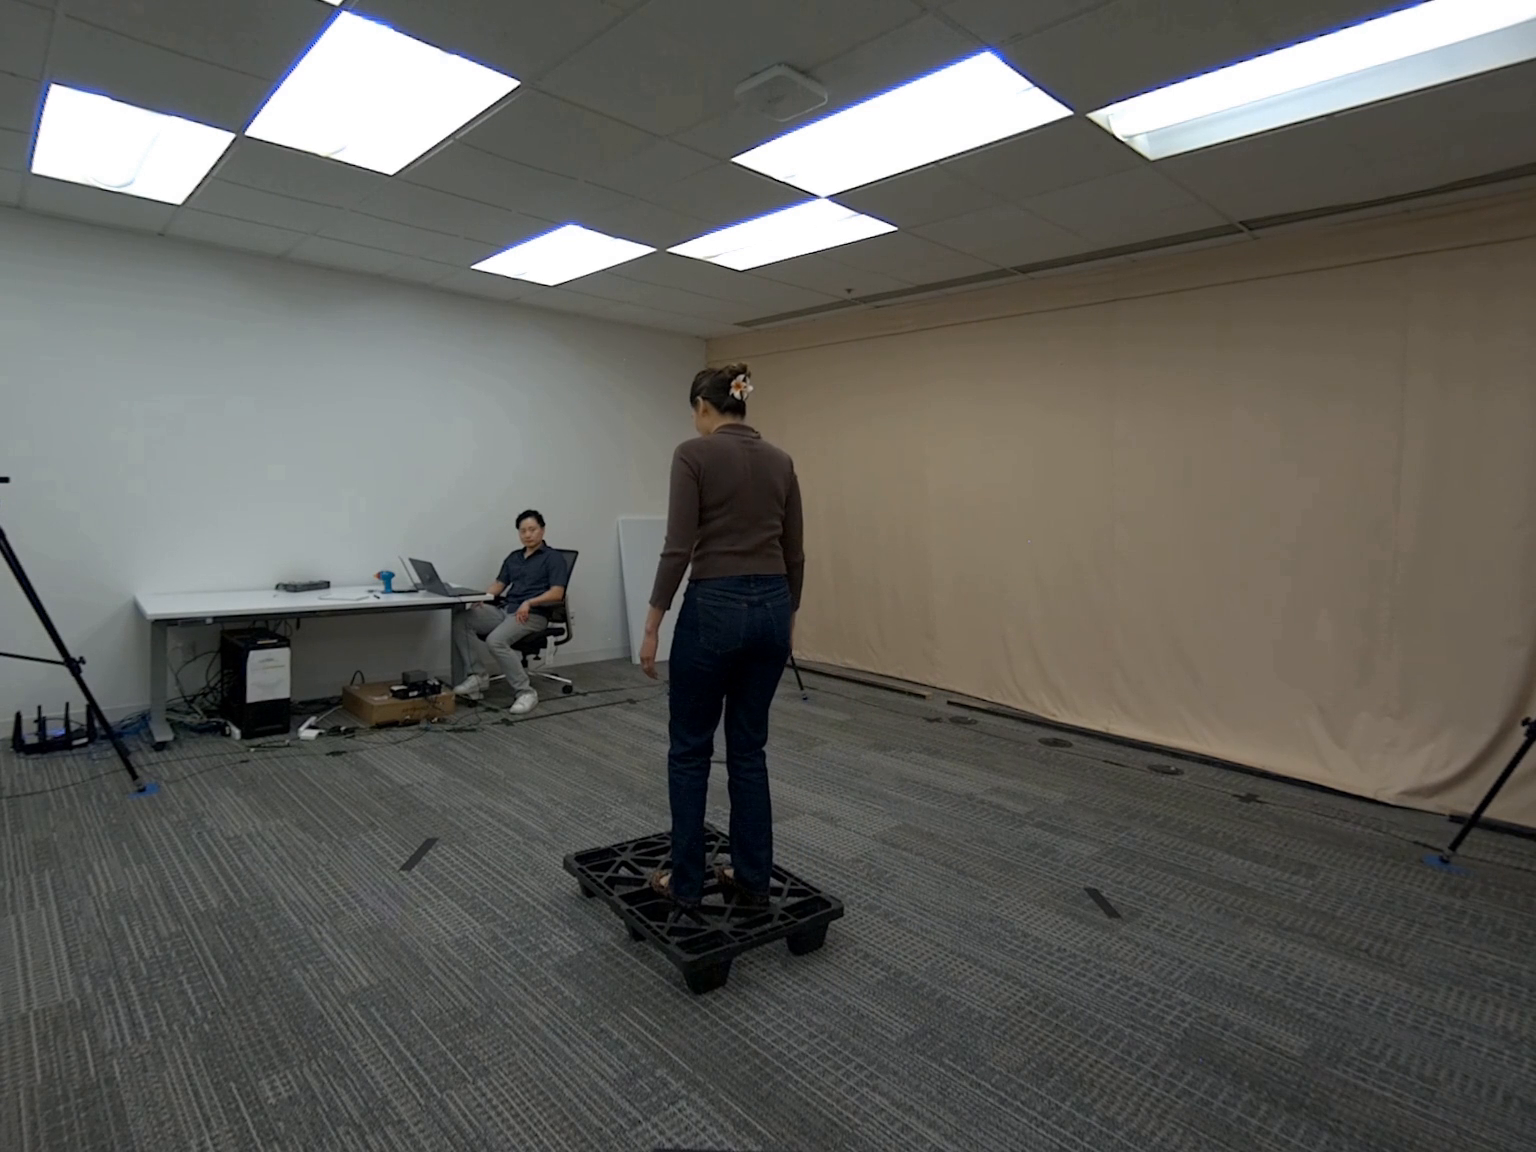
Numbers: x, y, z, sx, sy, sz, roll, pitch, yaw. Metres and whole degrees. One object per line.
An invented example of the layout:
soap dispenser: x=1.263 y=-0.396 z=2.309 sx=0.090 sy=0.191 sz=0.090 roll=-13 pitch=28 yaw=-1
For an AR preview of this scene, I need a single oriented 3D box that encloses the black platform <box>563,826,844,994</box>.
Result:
black platform: x=-0.242 y=1.064 z=2.774 sx=0.592 sy=0.143 sz=0.826 roll=-2 pitch=7 yaw=-37
